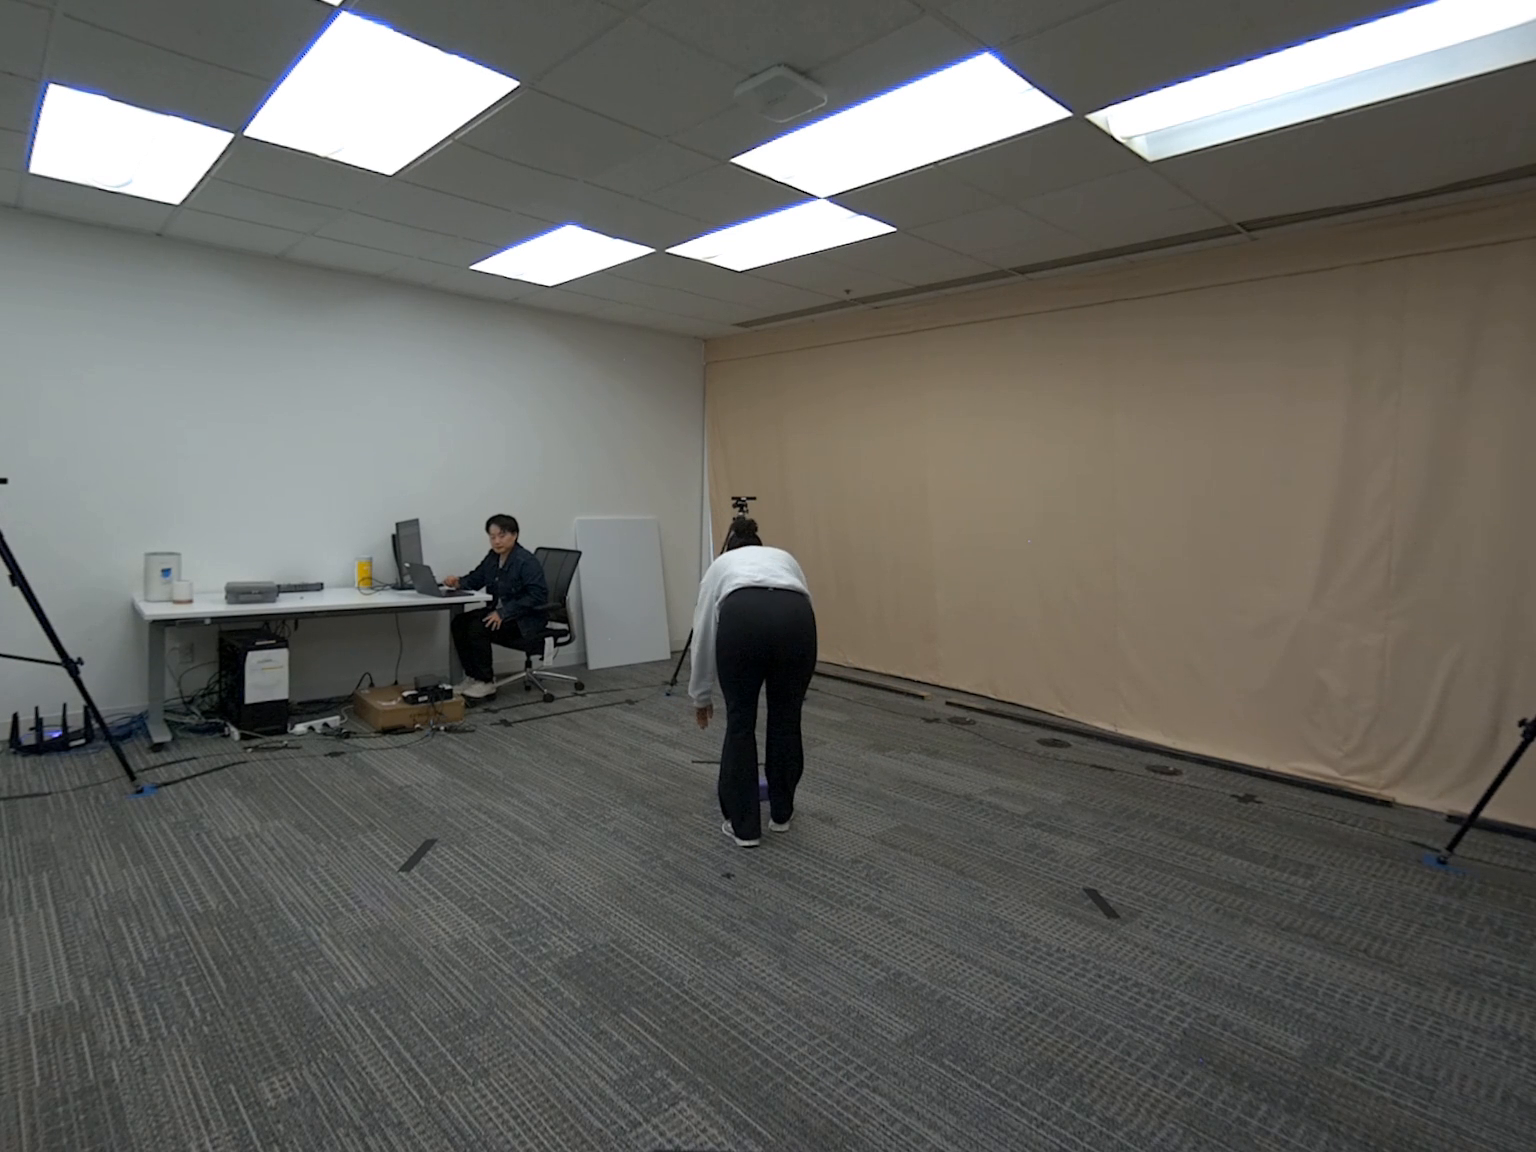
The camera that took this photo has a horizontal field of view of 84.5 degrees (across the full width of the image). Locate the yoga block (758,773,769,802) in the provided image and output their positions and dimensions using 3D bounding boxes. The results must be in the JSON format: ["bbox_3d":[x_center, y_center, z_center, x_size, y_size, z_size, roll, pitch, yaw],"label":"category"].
[{"bbox_3d":[-0.120,0.997,3.944,0.227,0.076,0.151,-1,5,-14],"label":"yoga block"}]
